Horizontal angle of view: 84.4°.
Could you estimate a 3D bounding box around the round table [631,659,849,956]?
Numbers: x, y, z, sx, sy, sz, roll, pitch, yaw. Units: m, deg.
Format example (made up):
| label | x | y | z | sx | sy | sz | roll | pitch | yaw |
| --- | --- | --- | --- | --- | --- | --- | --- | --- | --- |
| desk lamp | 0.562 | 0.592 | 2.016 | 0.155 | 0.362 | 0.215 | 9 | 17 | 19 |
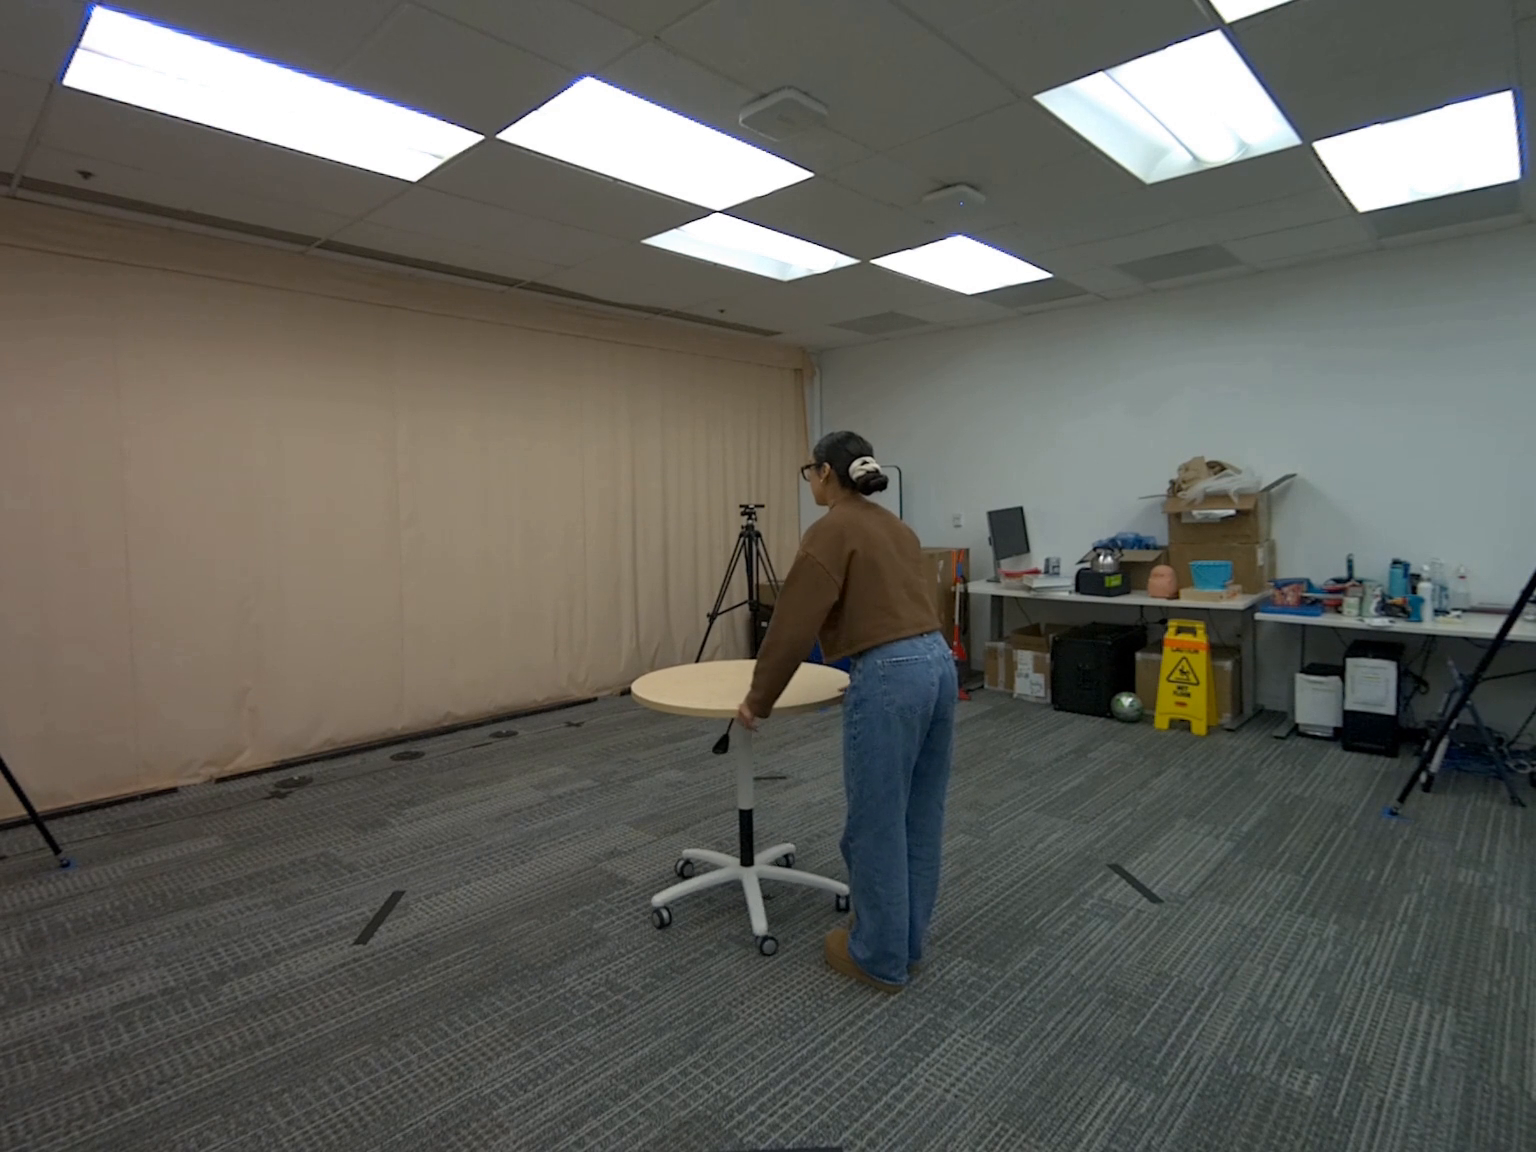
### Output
| label | x | y | z | sx | sy | sz | roll | pitch | yaw |
| --- | --- | --- | --- | --- | --- | --- | --- | --- | --- |
| round table | -0.077 | 0.757 | 2.924 | 0.763 | 0.792 | 0.767 | -1 | 4 | -2 |
